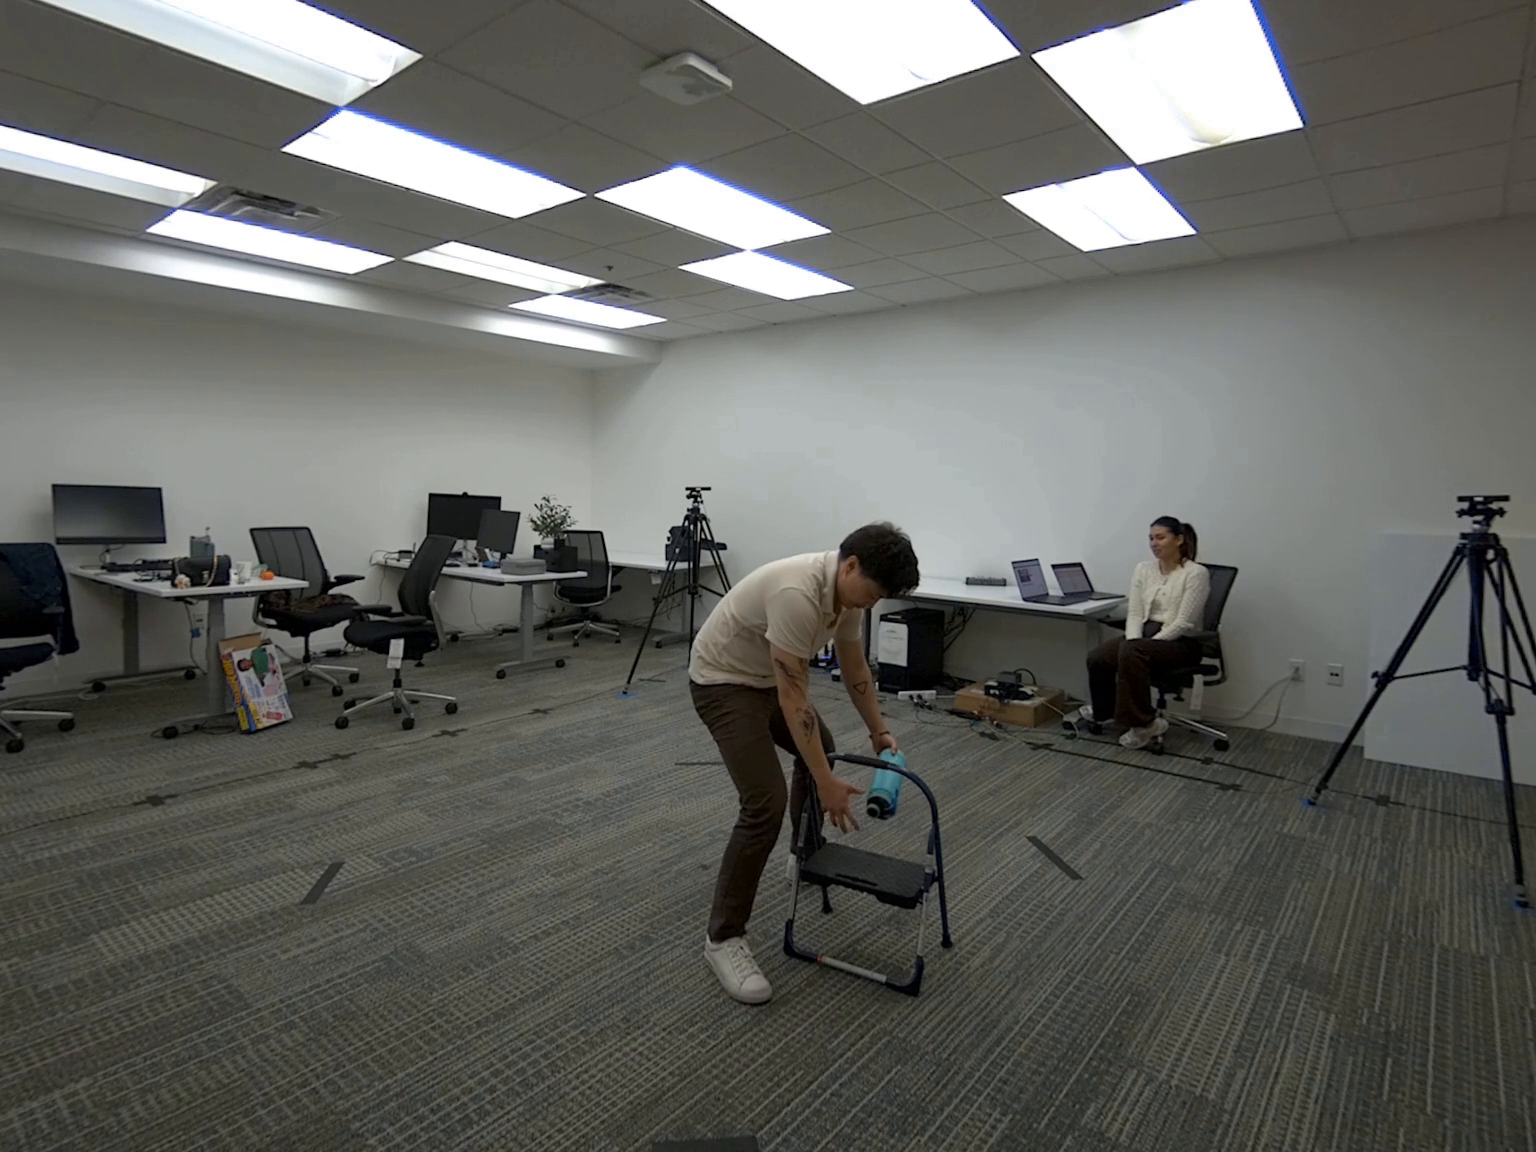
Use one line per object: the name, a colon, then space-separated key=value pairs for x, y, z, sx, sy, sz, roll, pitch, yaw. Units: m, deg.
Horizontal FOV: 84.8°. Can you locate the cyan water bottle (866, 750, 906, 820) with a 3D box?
cyan water bottle: x=0.366 y=0.637 z=2.640 sx=0.094 sy=0.090 sz=0.283 roll=2 pitch=22 yaw=17
